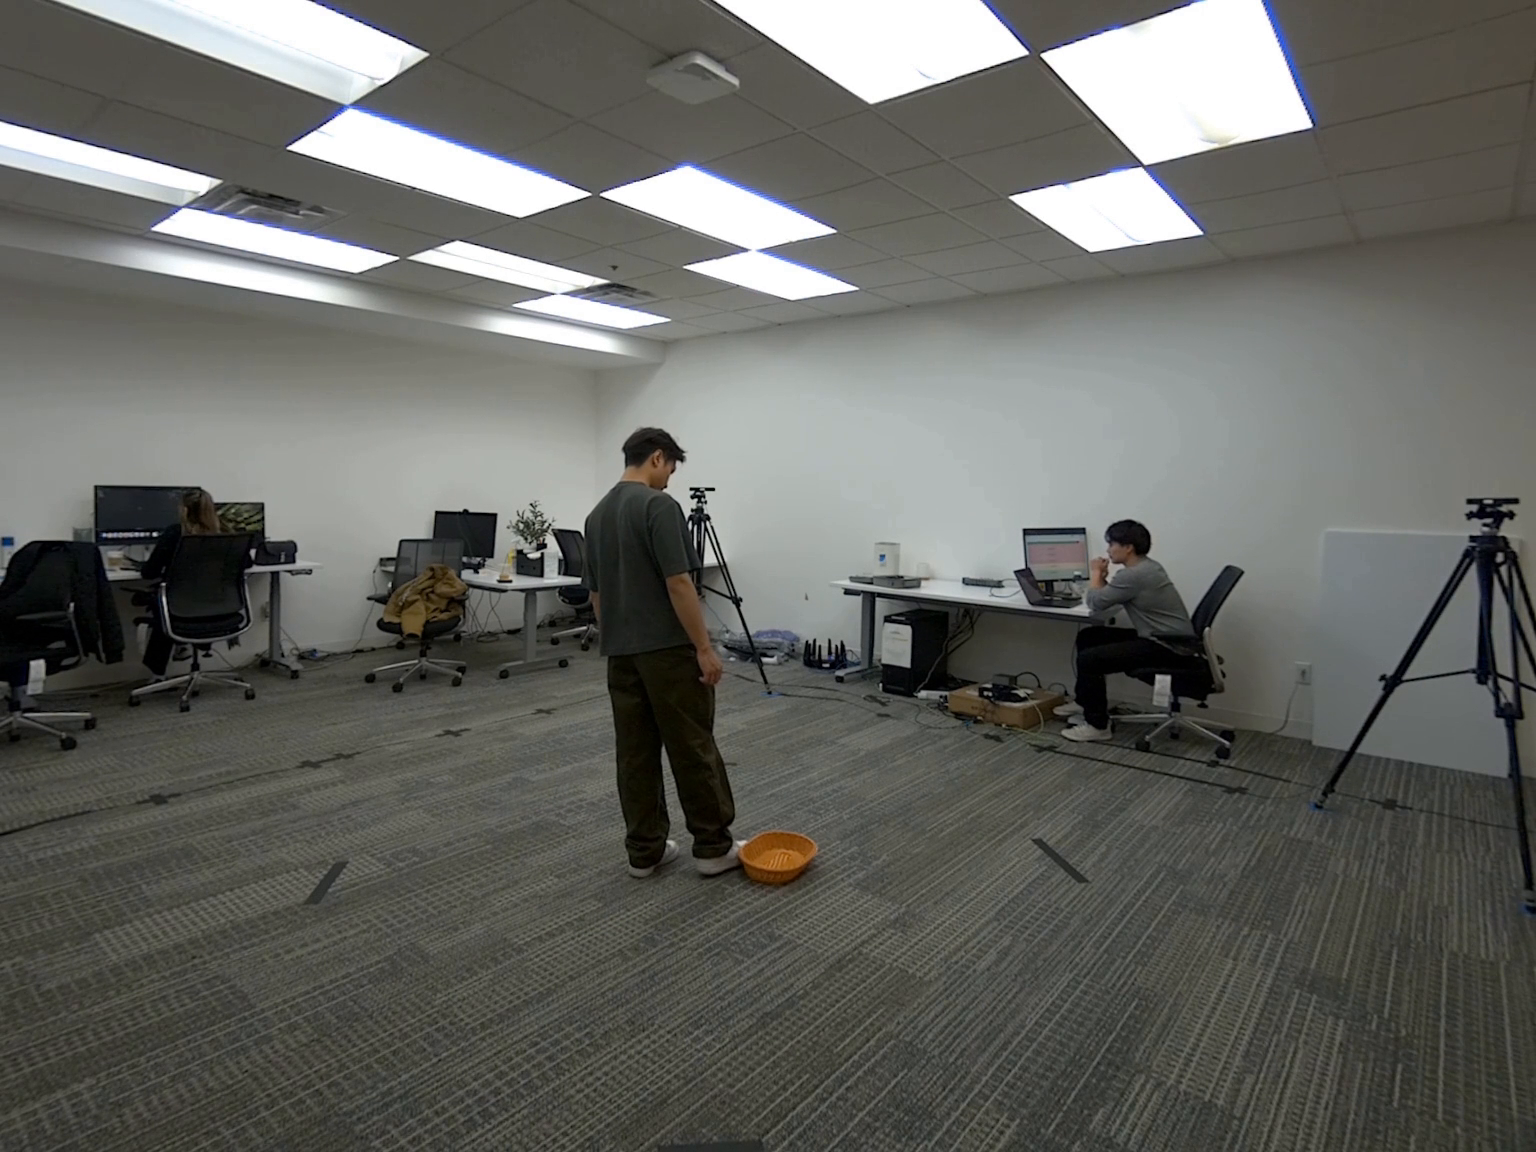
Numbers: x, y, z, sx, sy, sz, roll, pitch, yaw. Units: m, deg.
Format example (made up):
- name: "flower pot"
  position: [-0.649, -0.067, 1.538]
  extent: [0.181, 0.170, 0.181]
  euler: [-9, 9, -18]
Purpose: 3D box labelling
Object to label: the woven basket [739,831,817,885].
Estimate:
- name: "woven basket"
  position: [0.030, 1.033, 3.116]
  extent: [0.260, 0.073, 0.341]
  euler: [7, 8, 31]
